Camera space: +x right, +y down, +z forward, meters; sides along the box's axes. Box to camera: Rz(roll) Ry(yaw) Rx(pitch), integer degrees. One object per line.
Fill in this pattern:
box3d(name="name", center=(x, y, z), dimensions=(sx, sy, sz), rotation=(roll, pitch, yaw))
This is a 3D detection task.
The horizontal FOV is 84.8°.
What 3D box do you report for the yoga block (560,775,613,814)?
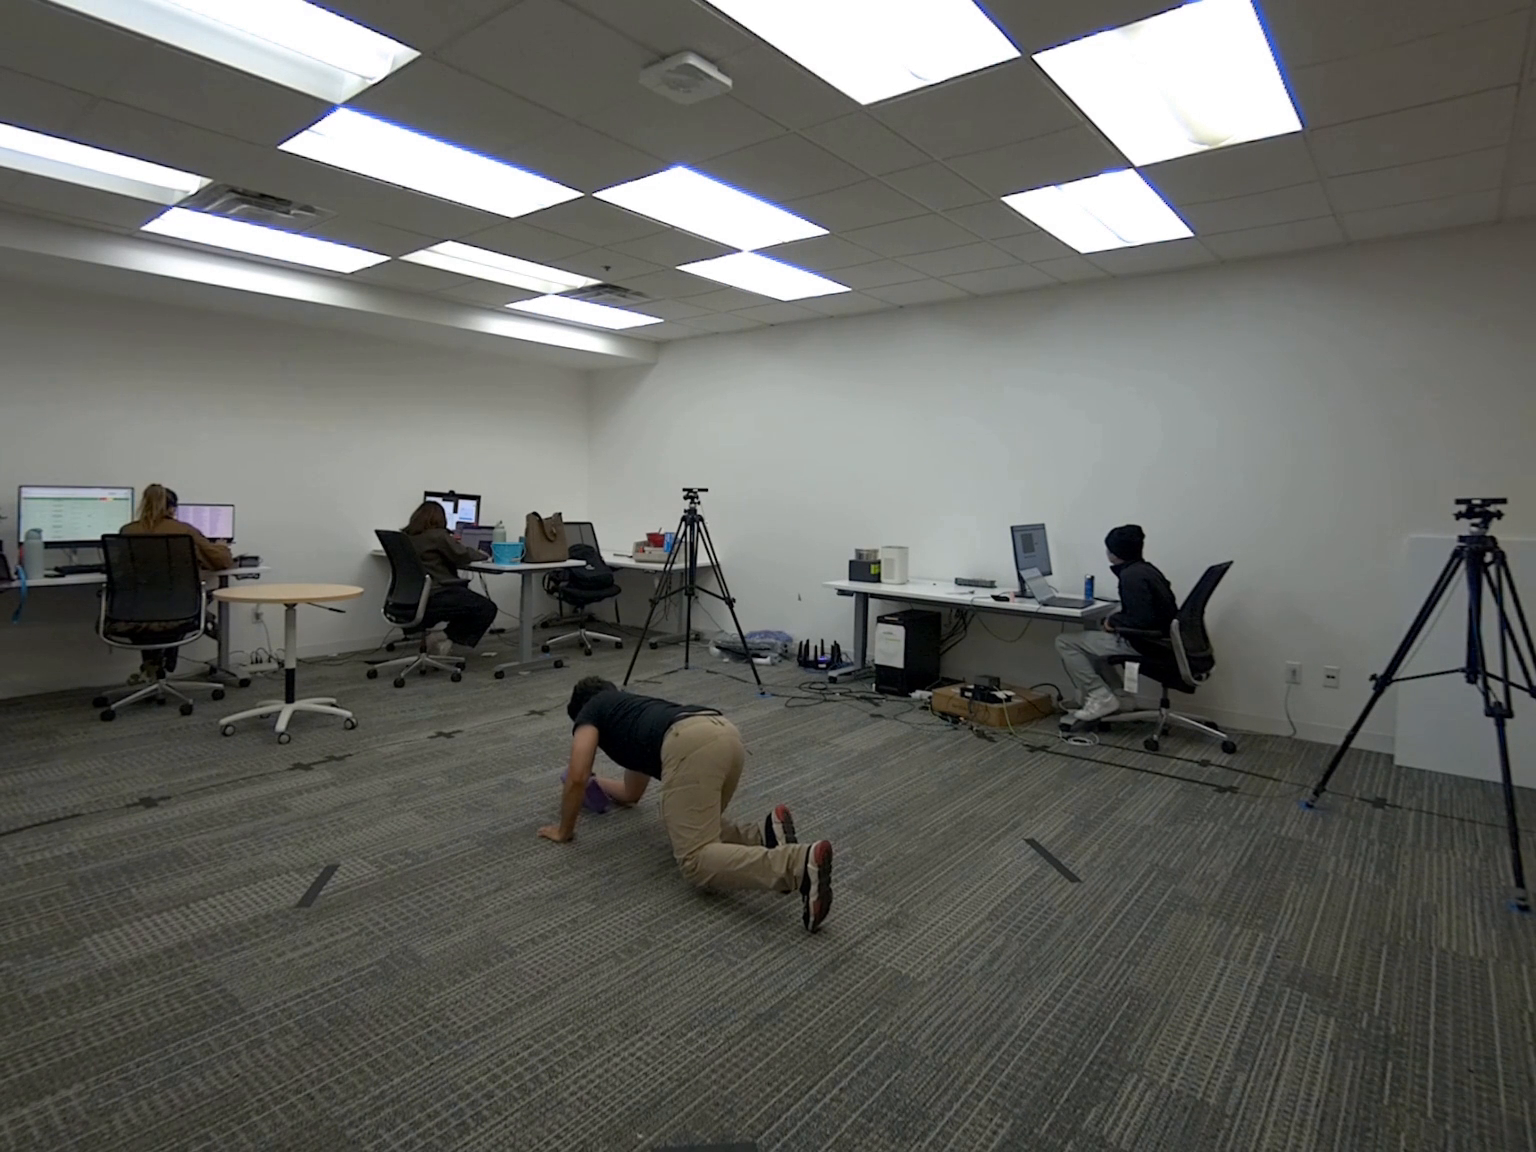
box3d(name="yoga block", center=(-0.806, 0.931, 3.712), dimensions=(0.076, 0.145, 0.237), rotation=(-42, 26, -24))
